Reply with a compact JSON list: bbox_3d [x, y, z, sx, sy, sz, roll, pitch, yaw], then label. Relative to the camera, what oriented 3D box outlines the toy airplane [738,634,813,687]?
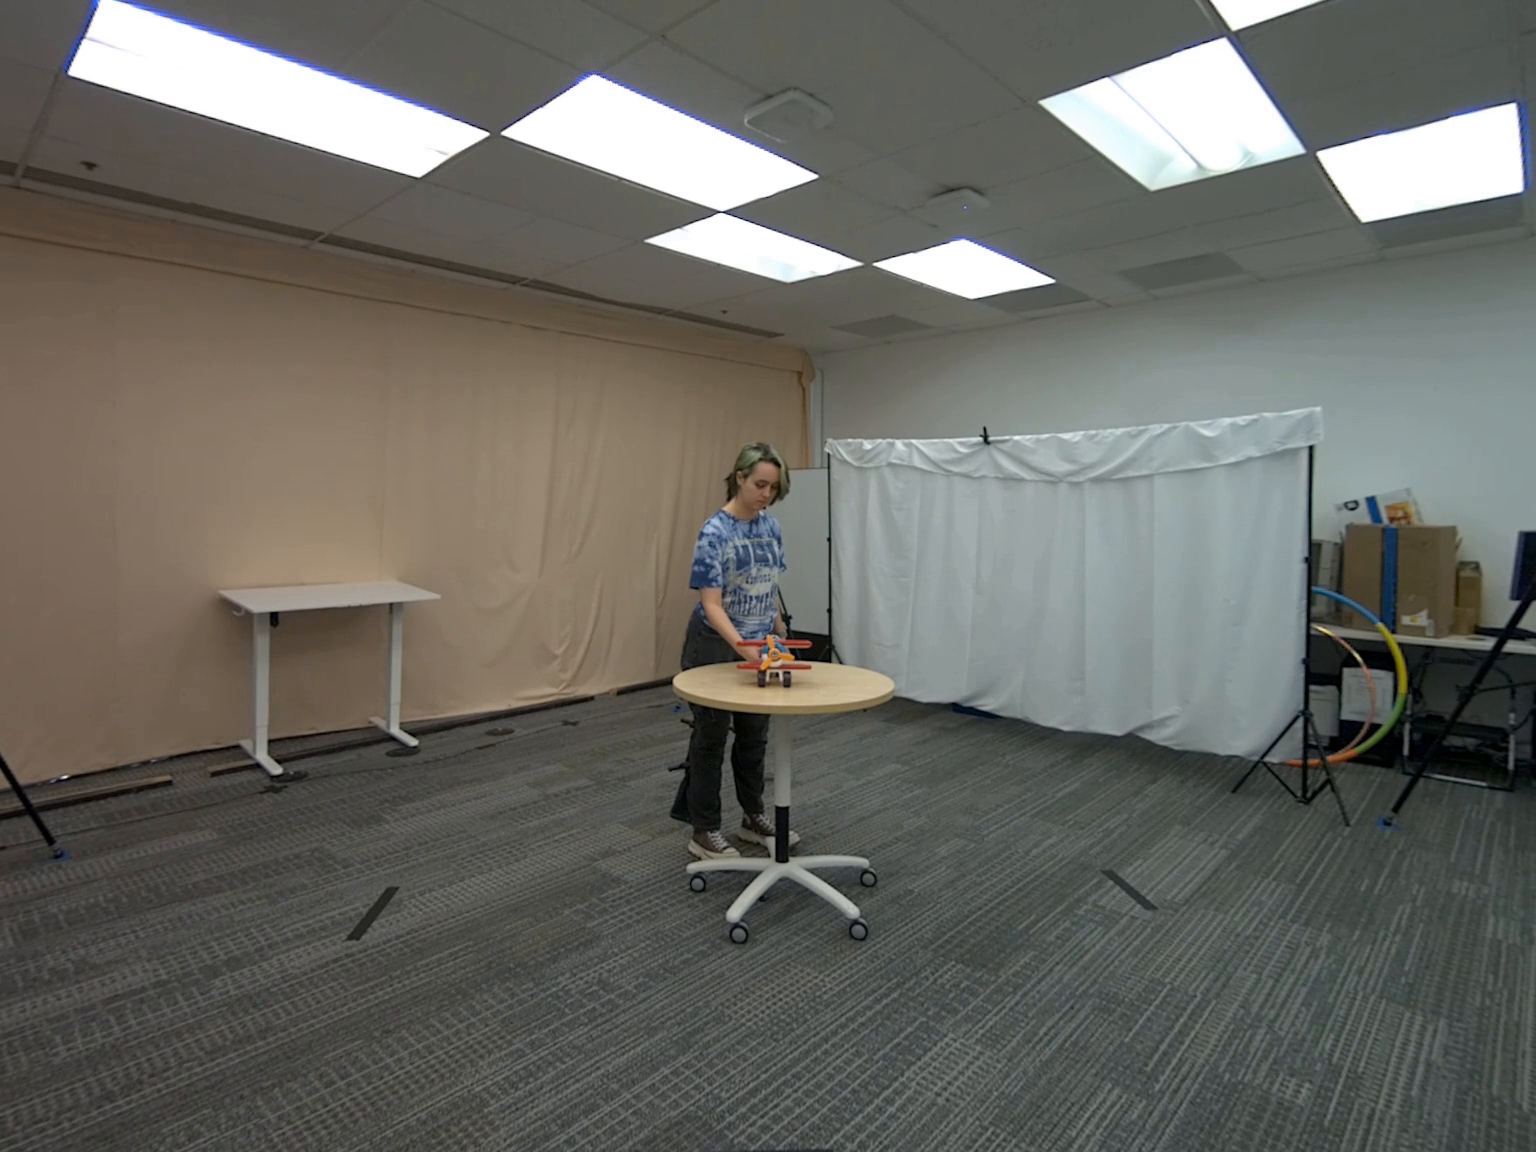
[{"bbox_3d":[0.002,0.288,2.908,0.244,0.156,0.266,-2,4,-29],"label":"toy airplane"}]
